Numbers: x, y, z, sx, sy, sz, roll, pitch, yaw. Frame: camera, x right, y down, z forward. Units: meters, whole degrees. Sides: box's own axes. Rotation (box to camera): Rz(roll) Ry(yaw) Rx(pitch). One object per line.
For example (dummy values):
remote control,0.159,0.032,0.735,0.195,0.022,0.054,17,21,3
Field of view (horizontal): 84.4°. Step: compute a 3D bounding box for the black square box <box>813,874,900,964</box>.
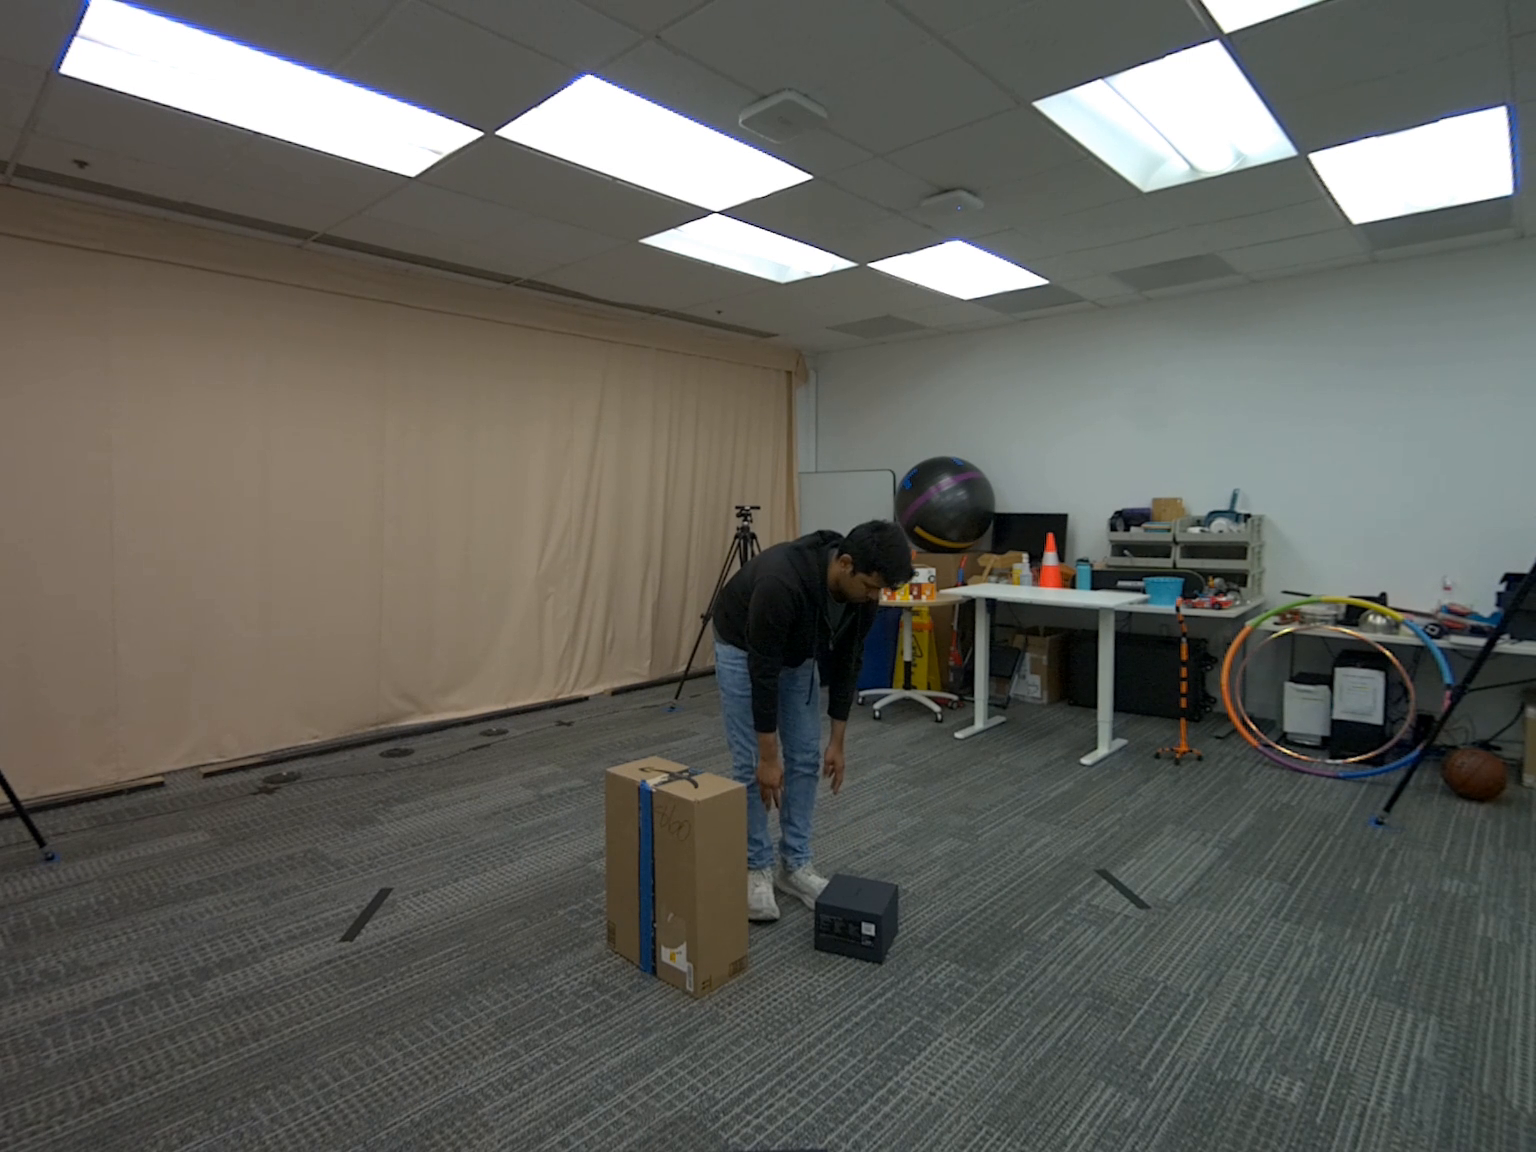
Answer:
black square box,0.290,1.084,2.683,0.222,0.155,0.223,2,4,22
